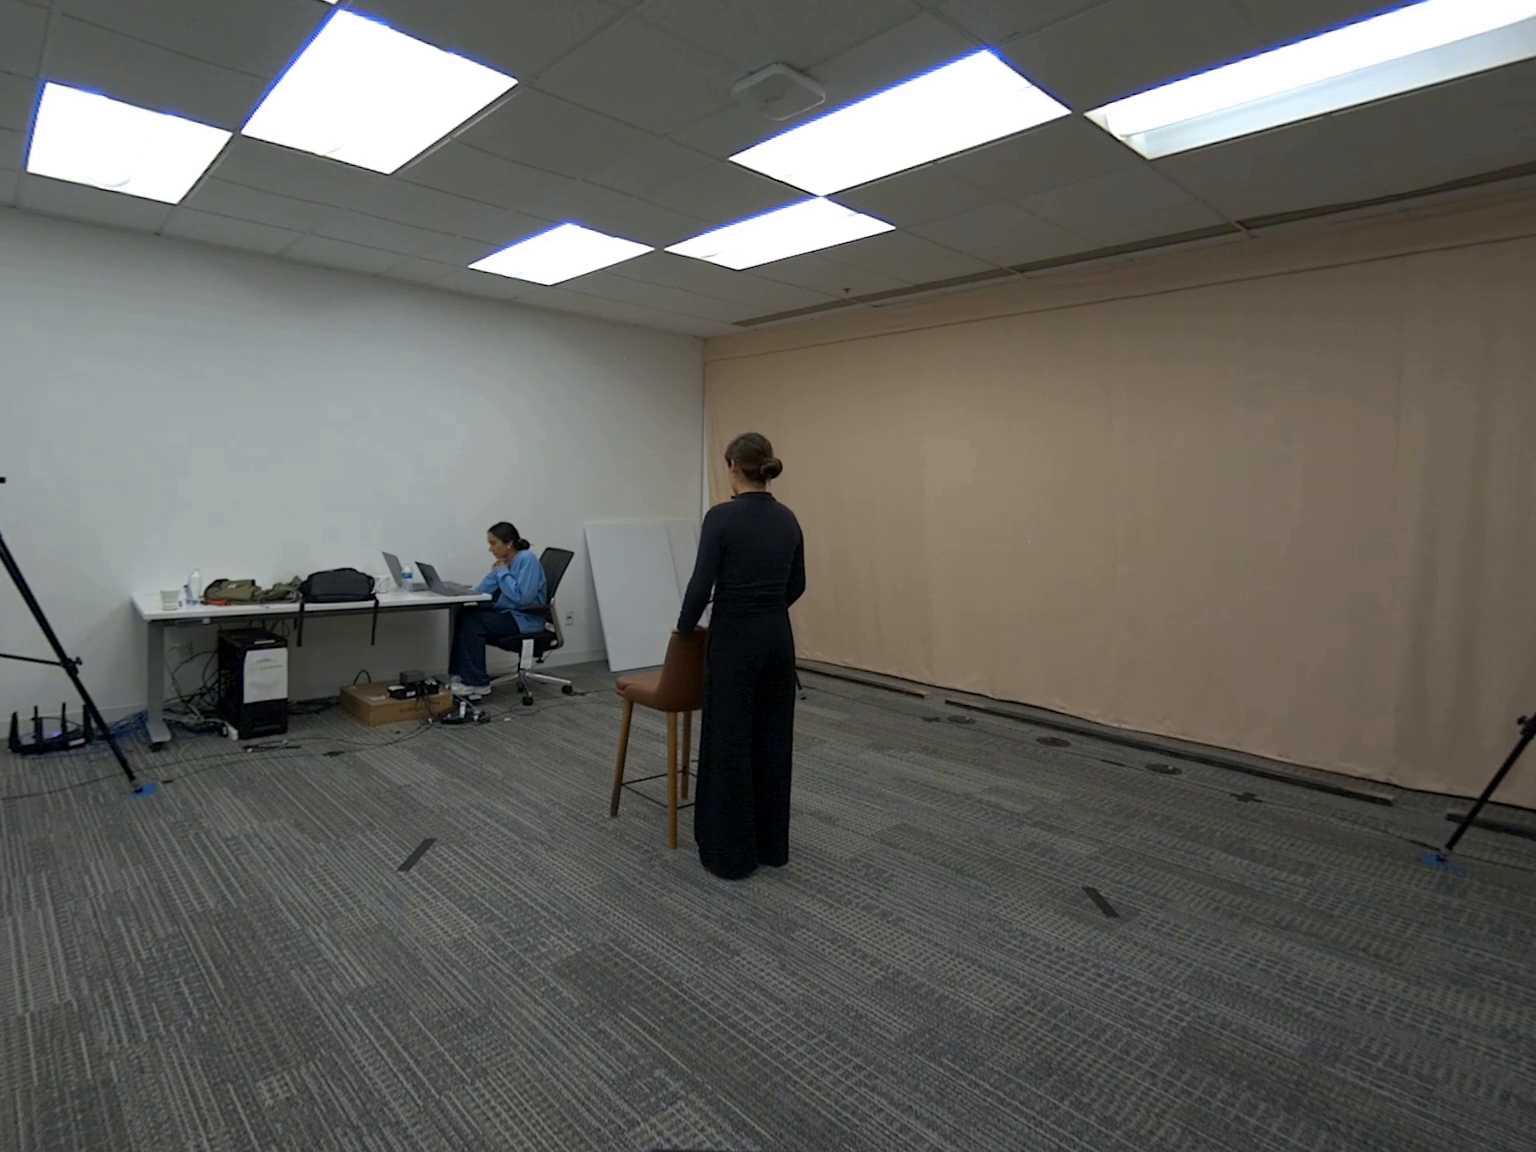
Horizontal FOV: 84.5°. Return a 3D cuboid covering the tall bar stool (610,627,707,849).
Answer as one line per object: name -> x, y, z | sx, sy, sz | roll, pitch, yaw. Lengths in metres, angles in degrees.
tall bar stool -> -0.375, 0.615, 3.578 | 0.446, 0.886, 0.480 | -2, 7, -40
